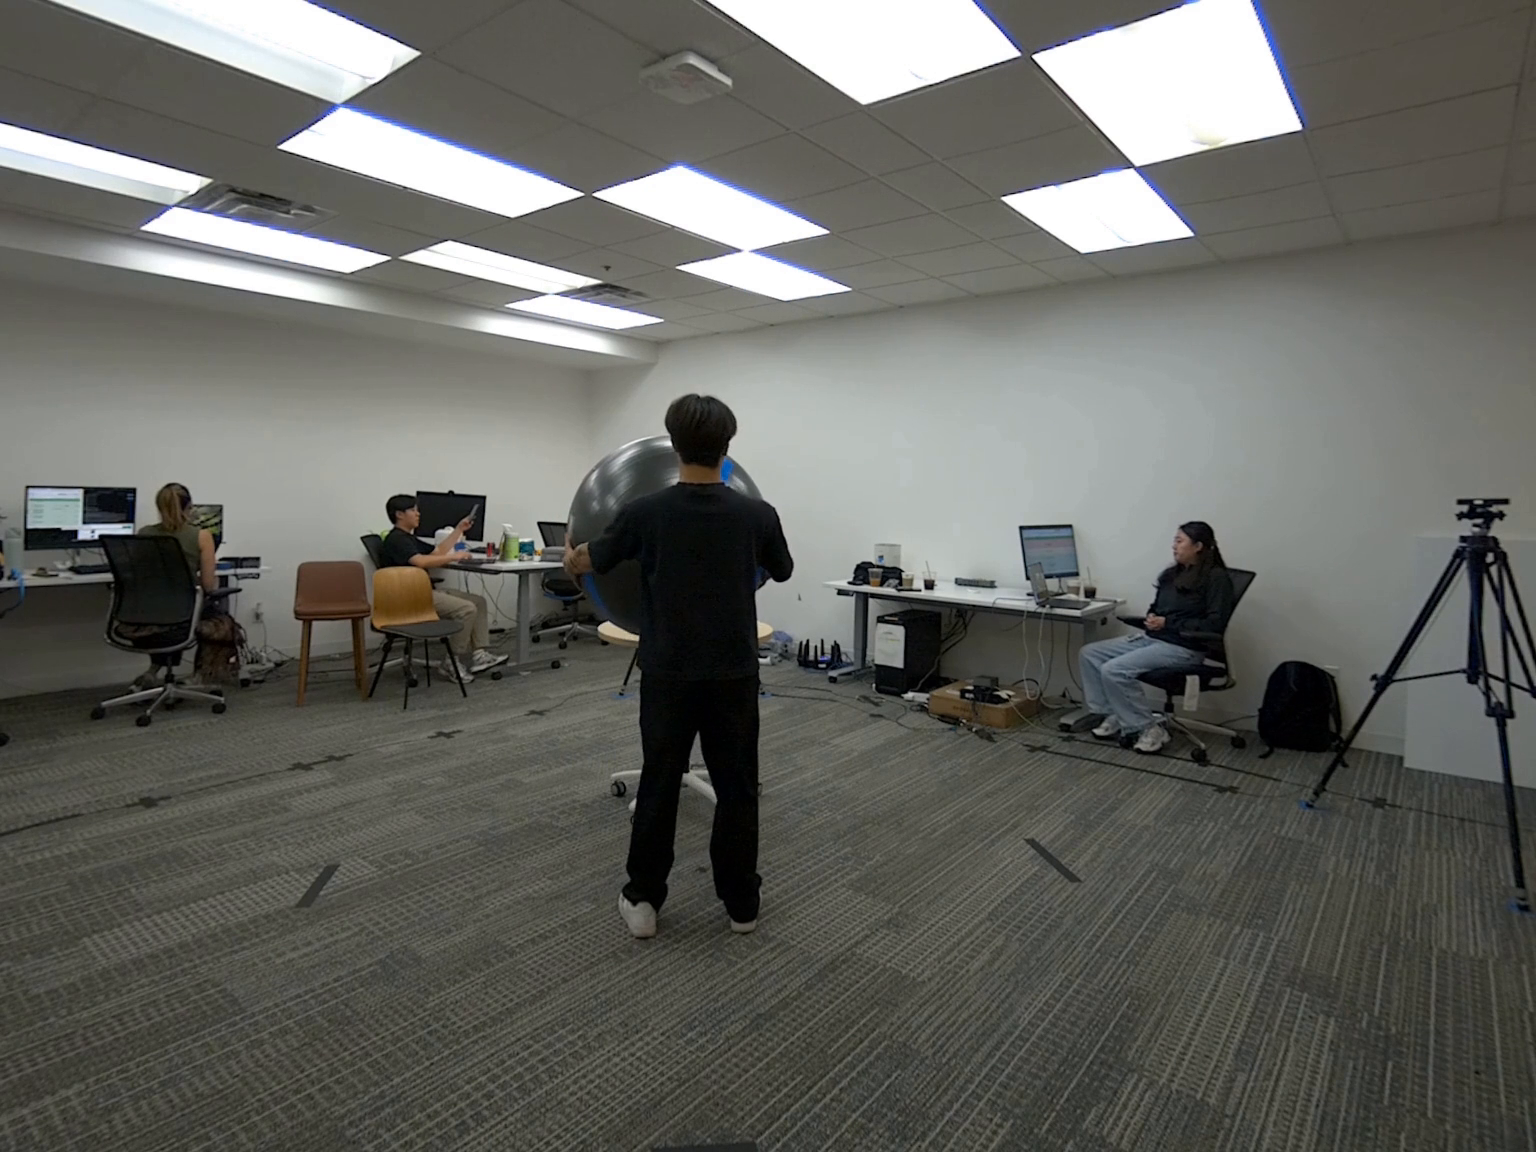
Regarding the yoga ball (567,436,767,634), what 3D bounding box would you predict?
[{"bbox_3d":[-0.385,-0.138,3.177,0.757,0.755,0.762,1,4,-2],"label":"yoga ball"}]
